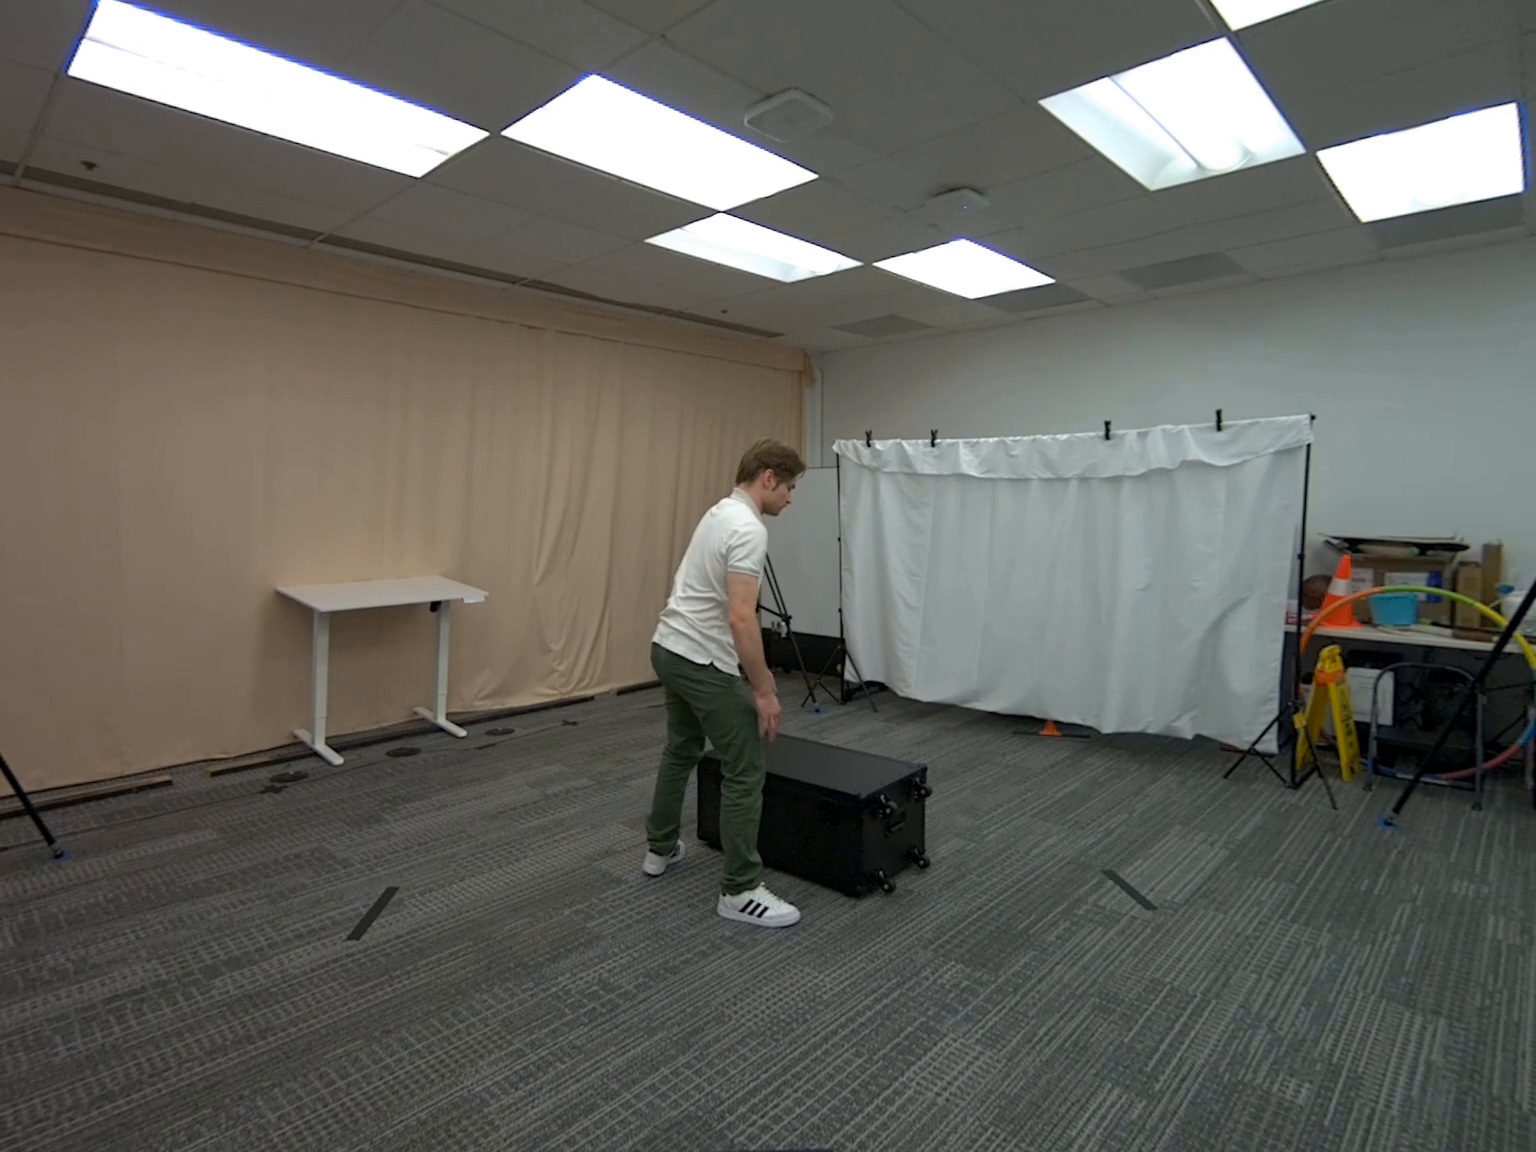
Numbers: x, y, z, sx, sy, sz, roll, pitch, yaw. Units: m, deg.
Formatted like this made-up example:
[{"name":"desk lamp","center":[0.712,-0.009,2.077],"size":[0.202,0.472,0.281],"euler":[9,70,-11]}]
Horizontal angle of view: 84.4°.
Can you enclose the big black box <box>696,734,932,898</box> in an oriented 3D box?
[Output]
[{"name":"big black box","center":[0.194,0.916,3.346],"size":[0.897,0.384,0.507],"euler":[4,4,39]}]
